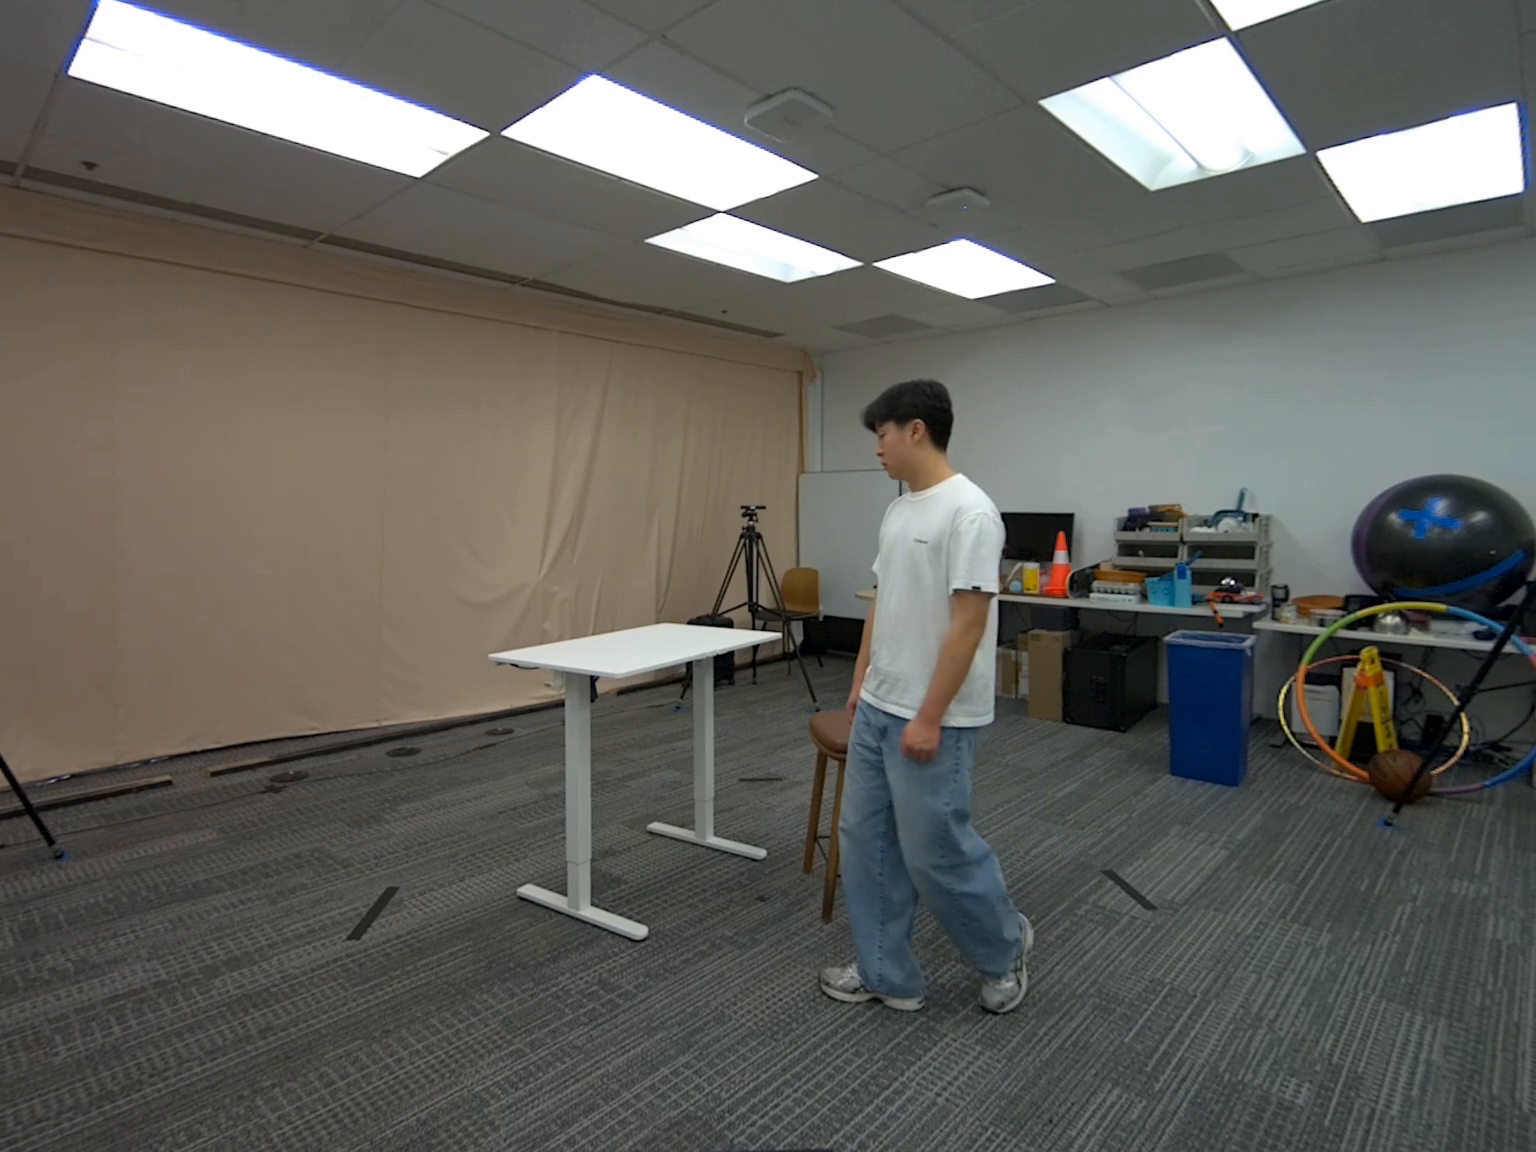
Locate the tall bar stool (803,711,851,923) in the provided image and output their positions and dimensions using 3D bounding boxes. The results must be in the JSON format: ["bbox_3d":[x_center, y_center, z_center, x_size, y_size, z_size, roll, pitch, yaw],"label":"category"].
[{"bbox_3d":[0.392,0.708,2.996,0.464,0.888,0.461,2,4,-7],"label":"tall bar stool"}]
